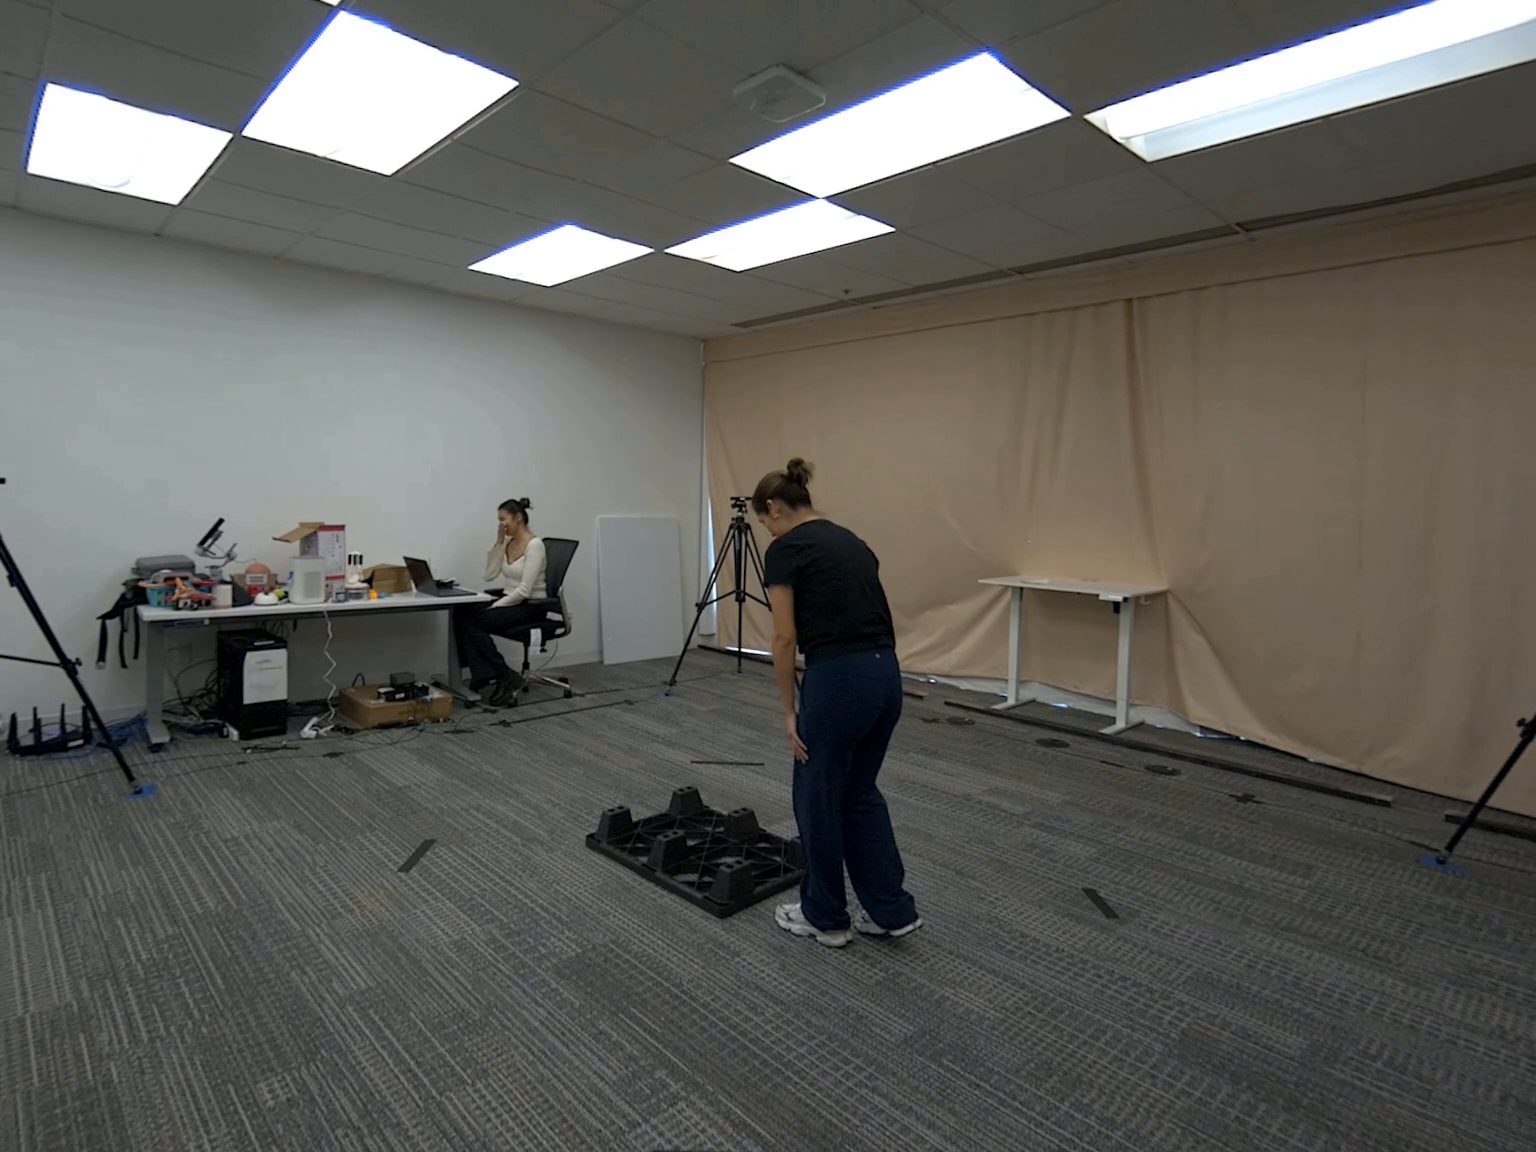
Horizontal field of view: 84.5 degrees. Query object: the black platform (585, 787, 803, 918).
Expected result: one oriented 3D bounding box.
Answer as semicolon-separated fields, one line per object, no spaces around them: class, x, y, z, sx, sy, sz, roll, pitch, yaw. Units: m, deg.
black platform;-0.246;1.026;3.251;0.826;0.143;0.591;6;6;44
